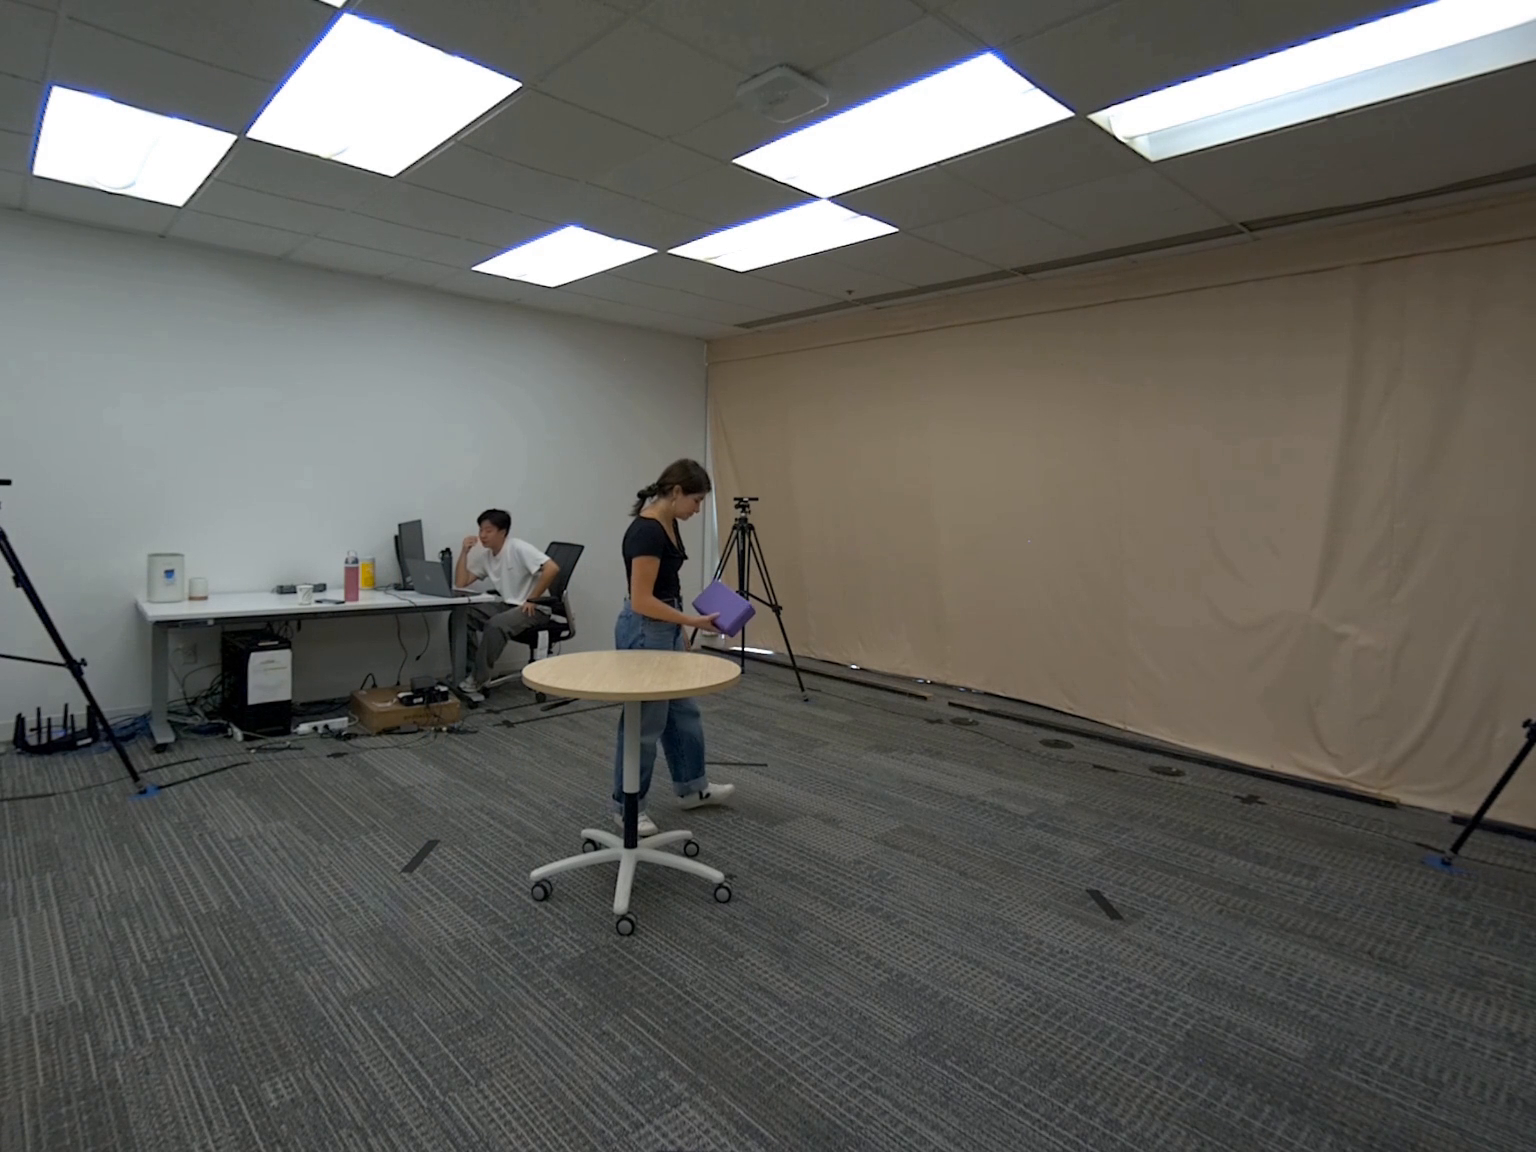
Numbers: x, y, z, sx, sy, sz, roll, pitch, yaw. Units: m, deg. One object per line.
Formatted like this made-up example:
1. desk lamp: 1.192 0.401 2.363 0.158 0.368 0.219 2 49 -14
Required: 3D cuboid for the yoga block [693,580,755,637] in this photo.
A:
1. yoga block: -0.190 0.133 3.414 0.236 0.149 0.074 33 -18 37
